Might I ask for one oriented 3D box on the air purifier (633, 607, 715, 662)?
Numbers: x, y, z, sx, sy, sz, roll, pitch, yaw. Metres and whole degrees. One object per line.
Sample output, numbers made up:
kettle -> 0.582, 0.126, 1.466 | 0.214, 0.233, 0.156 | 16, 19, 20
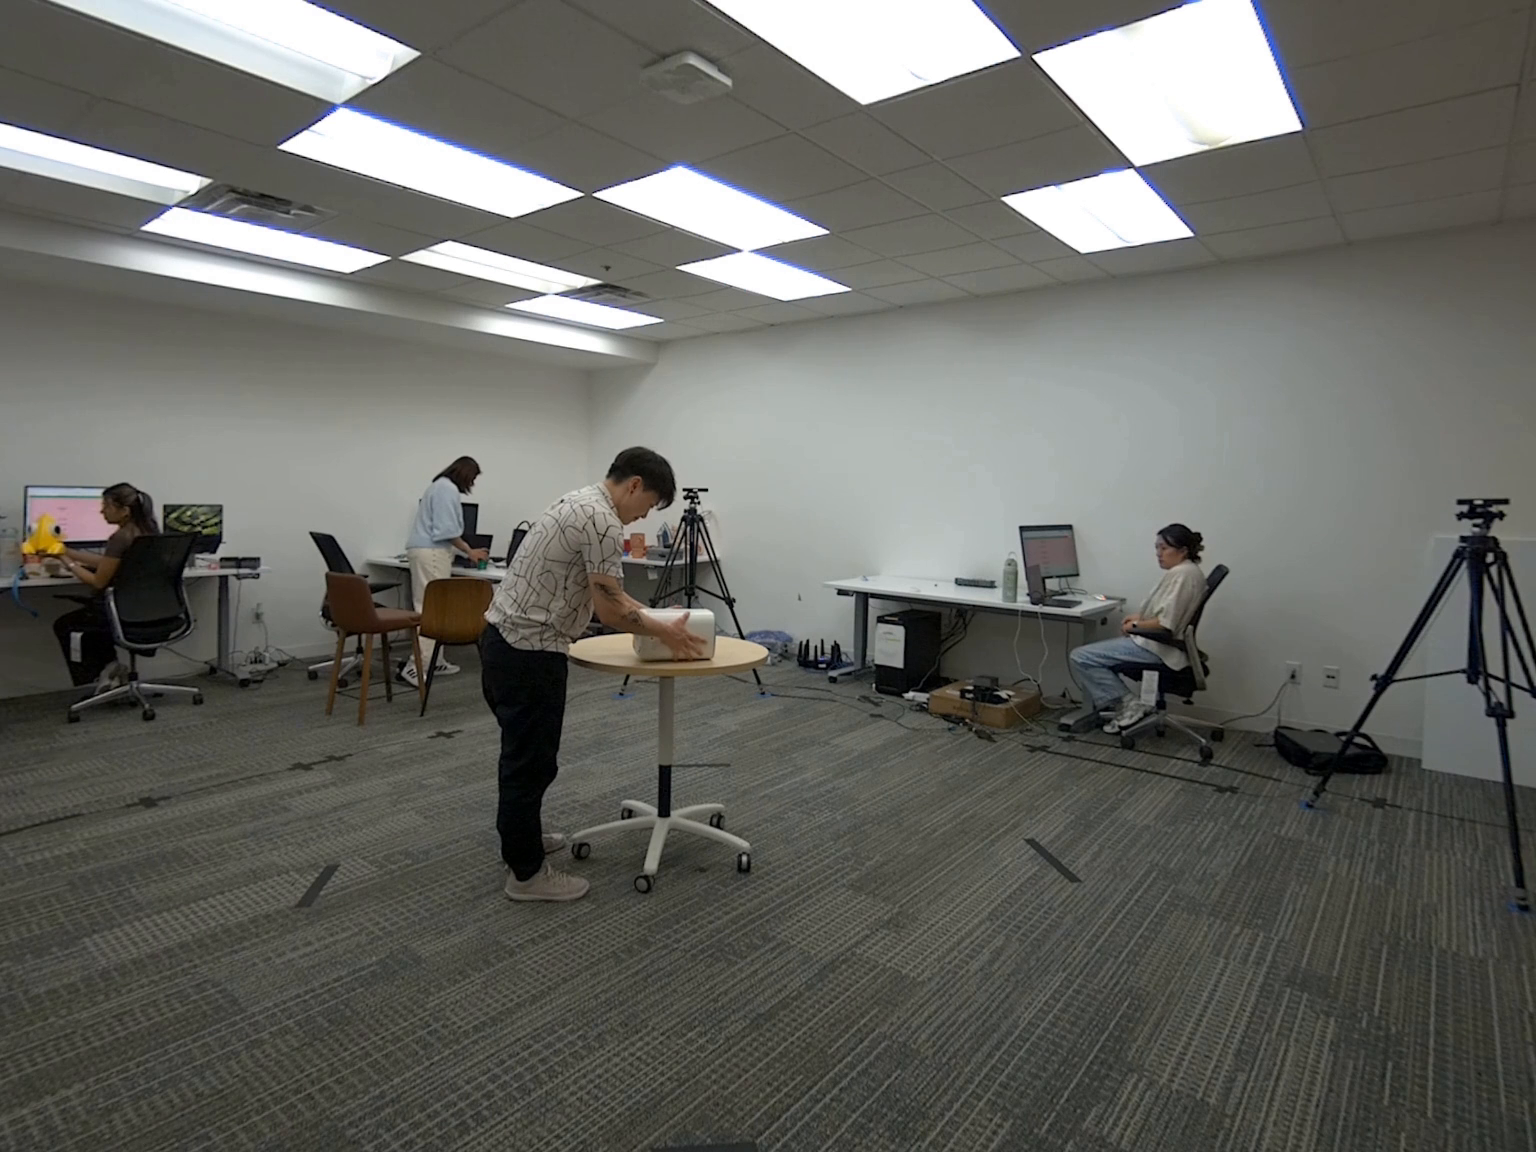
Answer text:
air purifier -> -0.349, 0.208, 3.025 | 0.260, 0.170, 0.176 | 0, 6, -19
